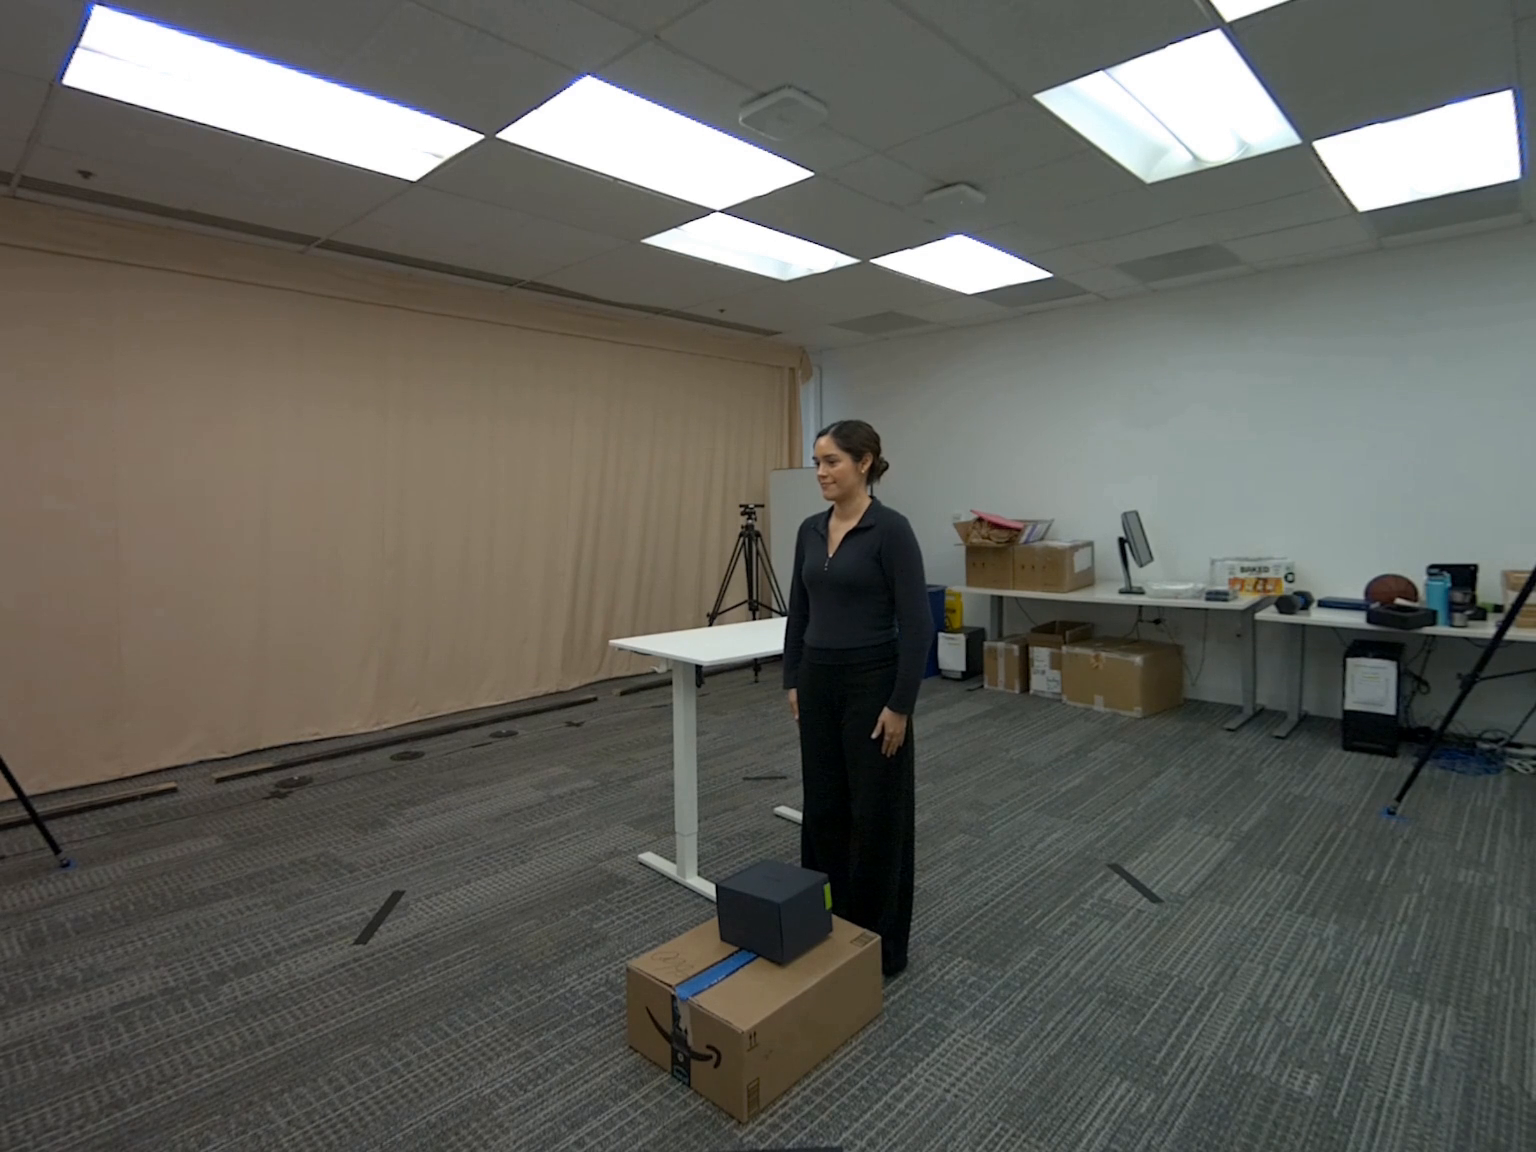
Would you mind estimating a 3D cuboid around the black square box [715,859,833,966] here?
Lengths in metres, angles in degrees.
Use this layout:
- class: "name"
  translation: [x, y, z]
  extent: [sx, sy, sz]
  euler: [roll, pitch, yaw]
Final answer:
- class: "black square box"
  translation: [0.019, 0.893, 2.276]
  extent: [0.235, 0.156, 0.210]
  euler: [-3, 2, 42]
